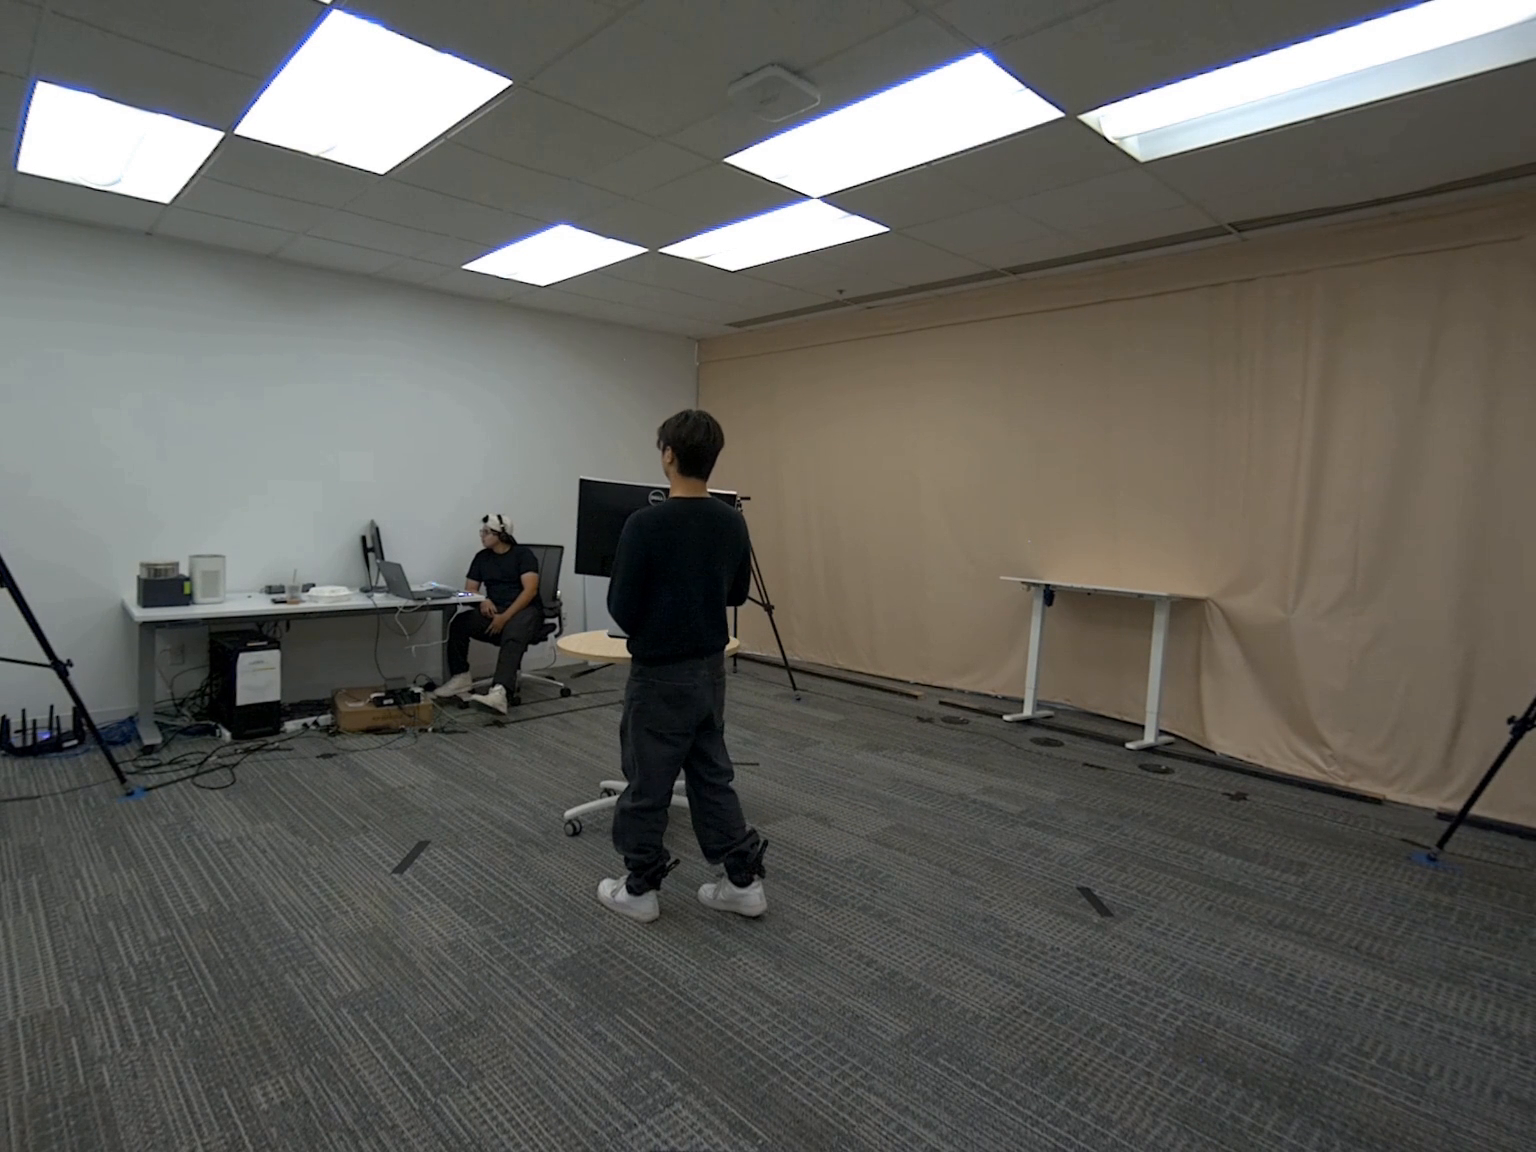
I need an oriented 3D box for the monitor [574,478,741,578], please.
[{"bbox_3d":[-0.413,-0.053,2.989,0.528,0.515,0.175,6,1,-4],"label":"monitor"}]
